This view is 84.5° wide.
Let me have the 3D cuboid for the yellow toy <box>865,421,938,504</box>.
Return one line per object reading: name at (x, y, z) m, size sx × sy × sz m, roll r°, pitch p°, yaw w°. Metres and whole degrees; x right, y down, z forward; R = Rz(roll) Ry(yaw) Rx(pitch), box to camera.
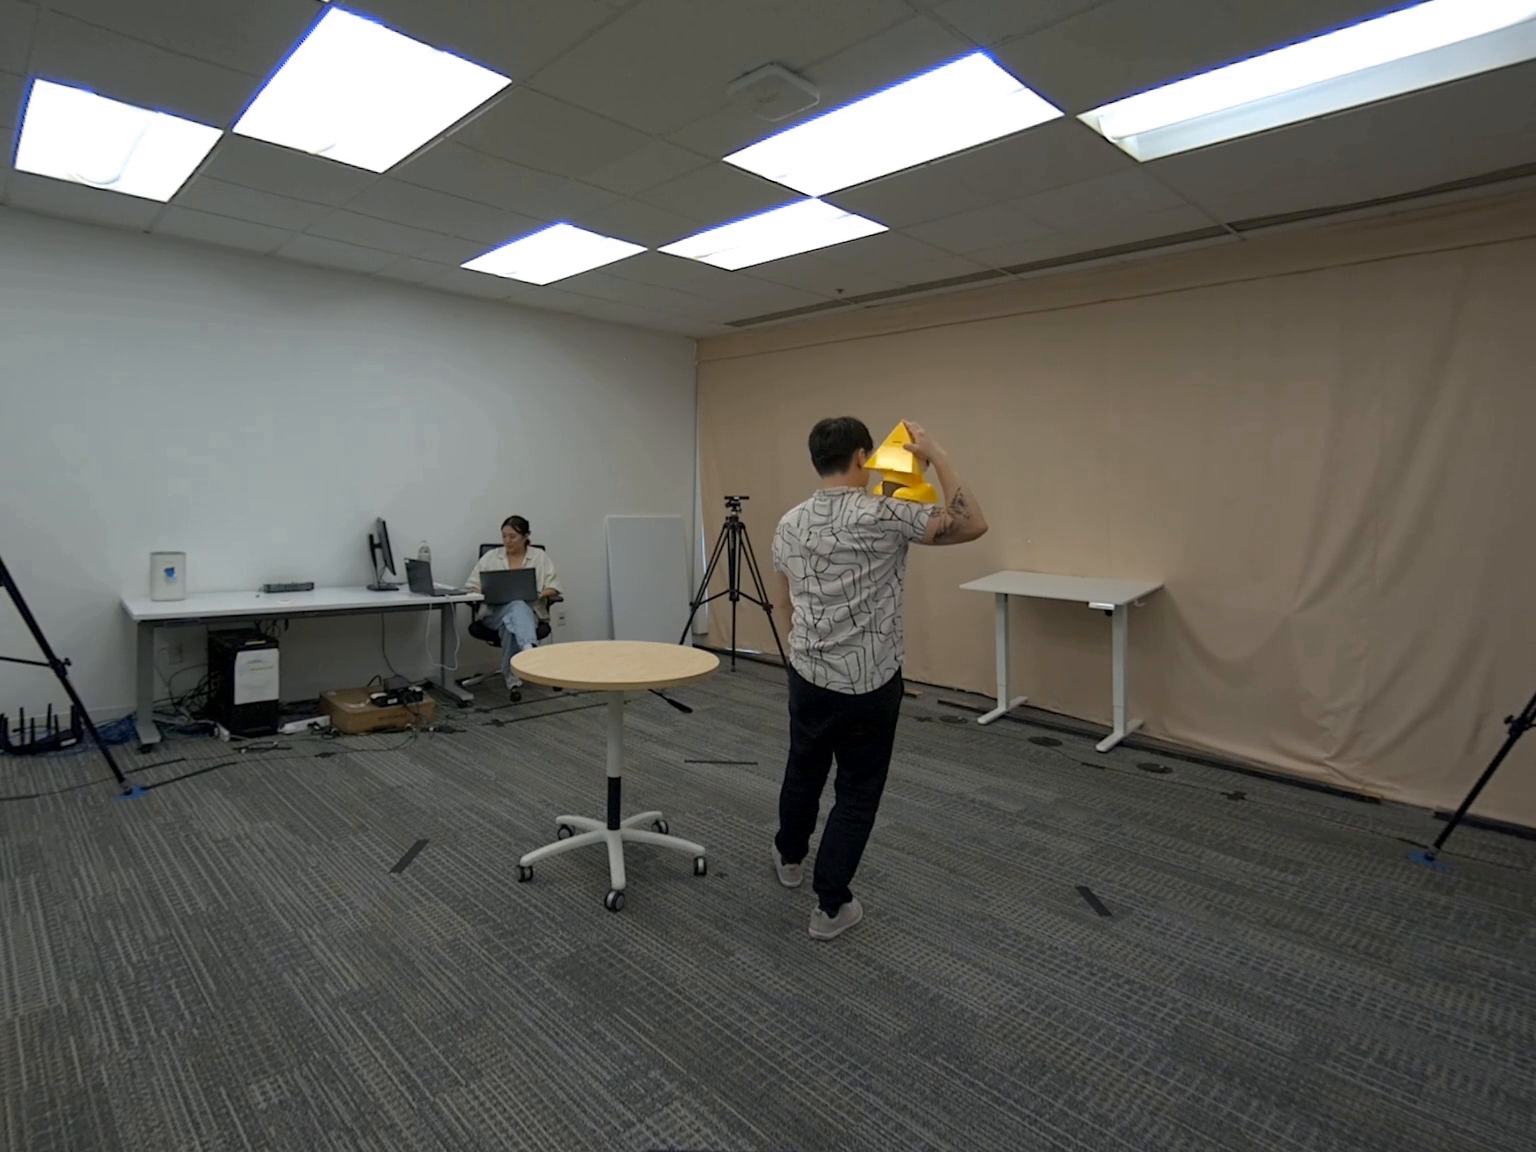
yellow toy at (0.427, -0.352, 2.602) m, size 0.188 × 0.230 × 0.210 m, roll 5°, pitch 7°, yaw -38°
